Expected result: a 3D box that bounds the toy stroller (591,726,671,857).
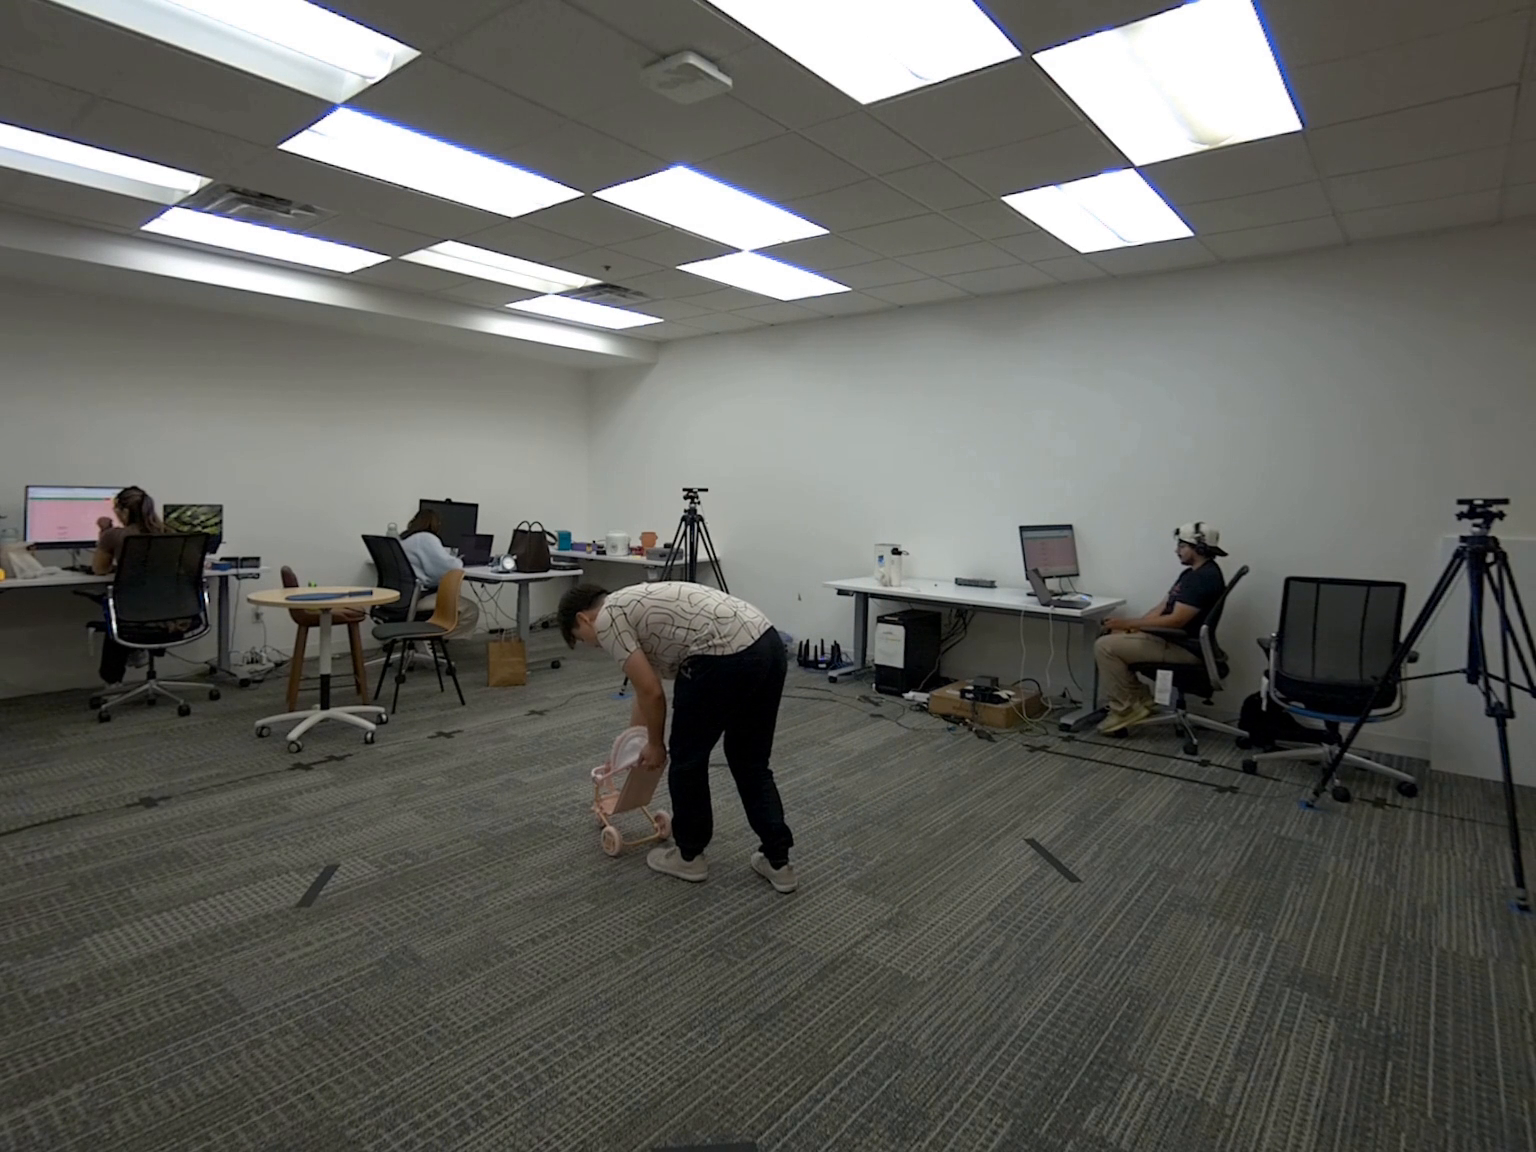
[{"bbox_3d":[-0.556,0.817,3.333,0.273,0.529,0.356,-2,22,-40],"label":"toy stroller"}]
